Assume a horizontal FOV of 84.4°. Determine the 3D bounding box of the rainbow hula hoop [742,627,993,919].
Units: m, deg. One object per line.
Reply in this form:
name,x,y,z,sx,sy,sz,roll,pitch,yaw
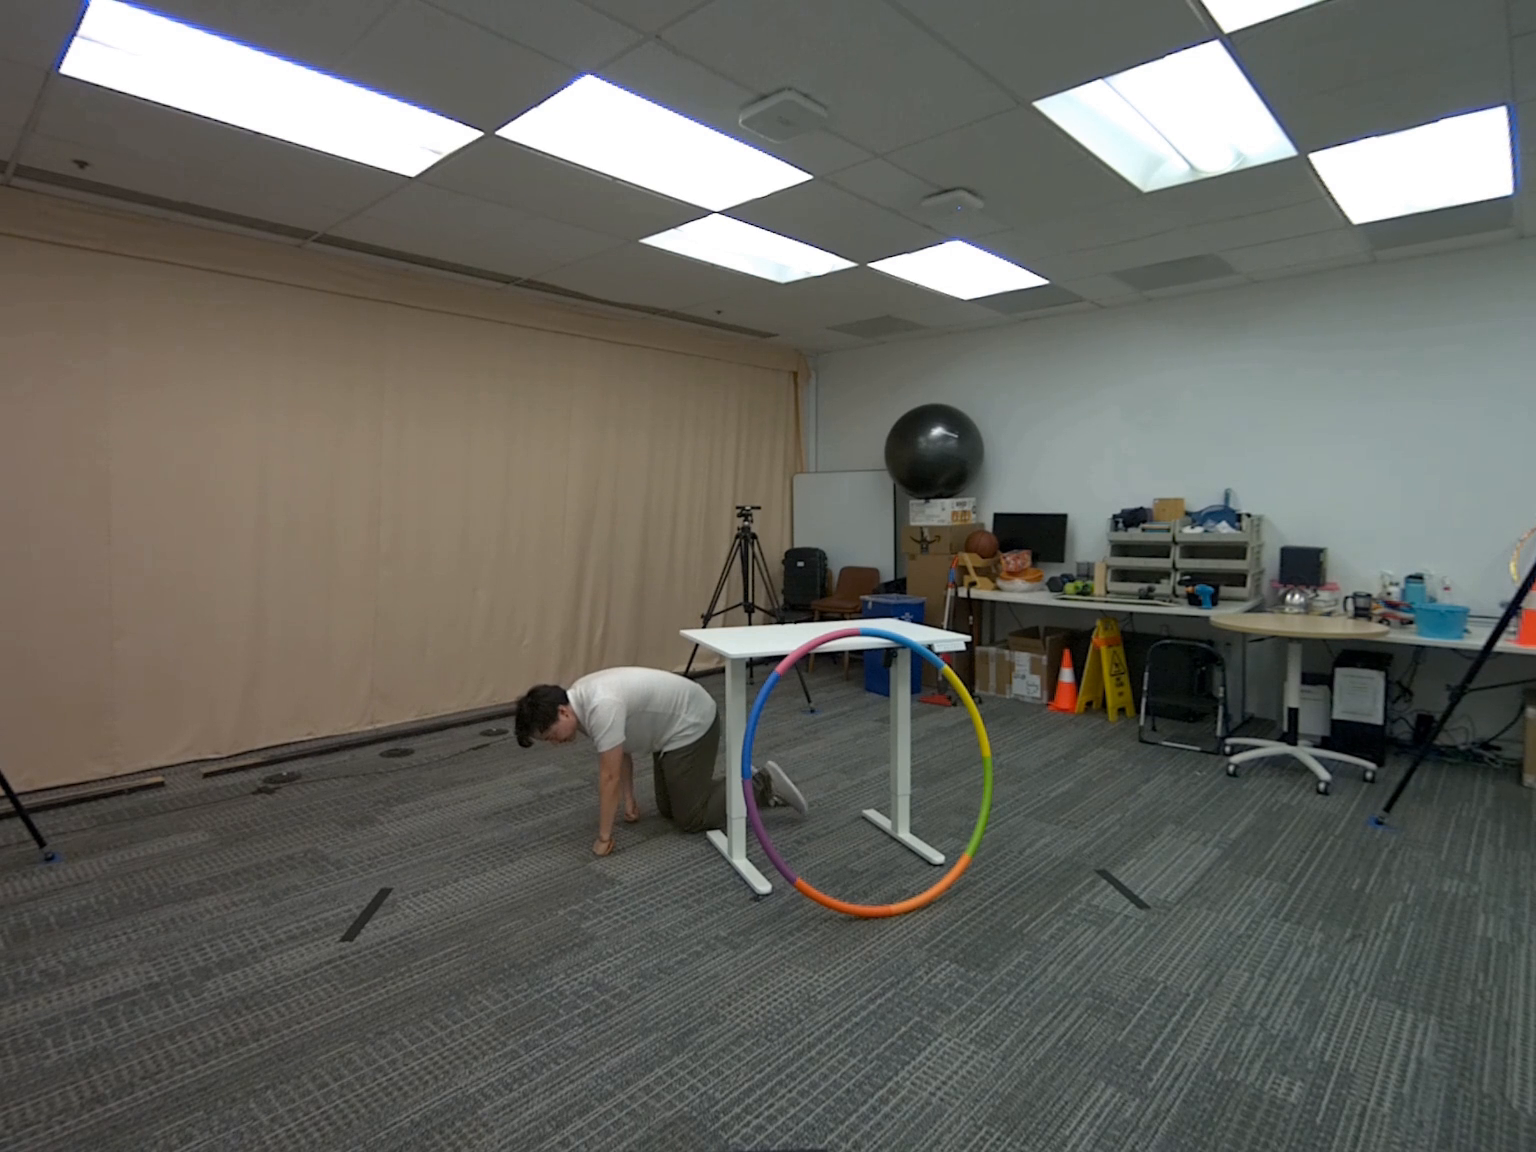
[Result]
rainbow hula hoop,0.384,0.678,2.961,0.959,0.988,0.036,-2,-13,-20
